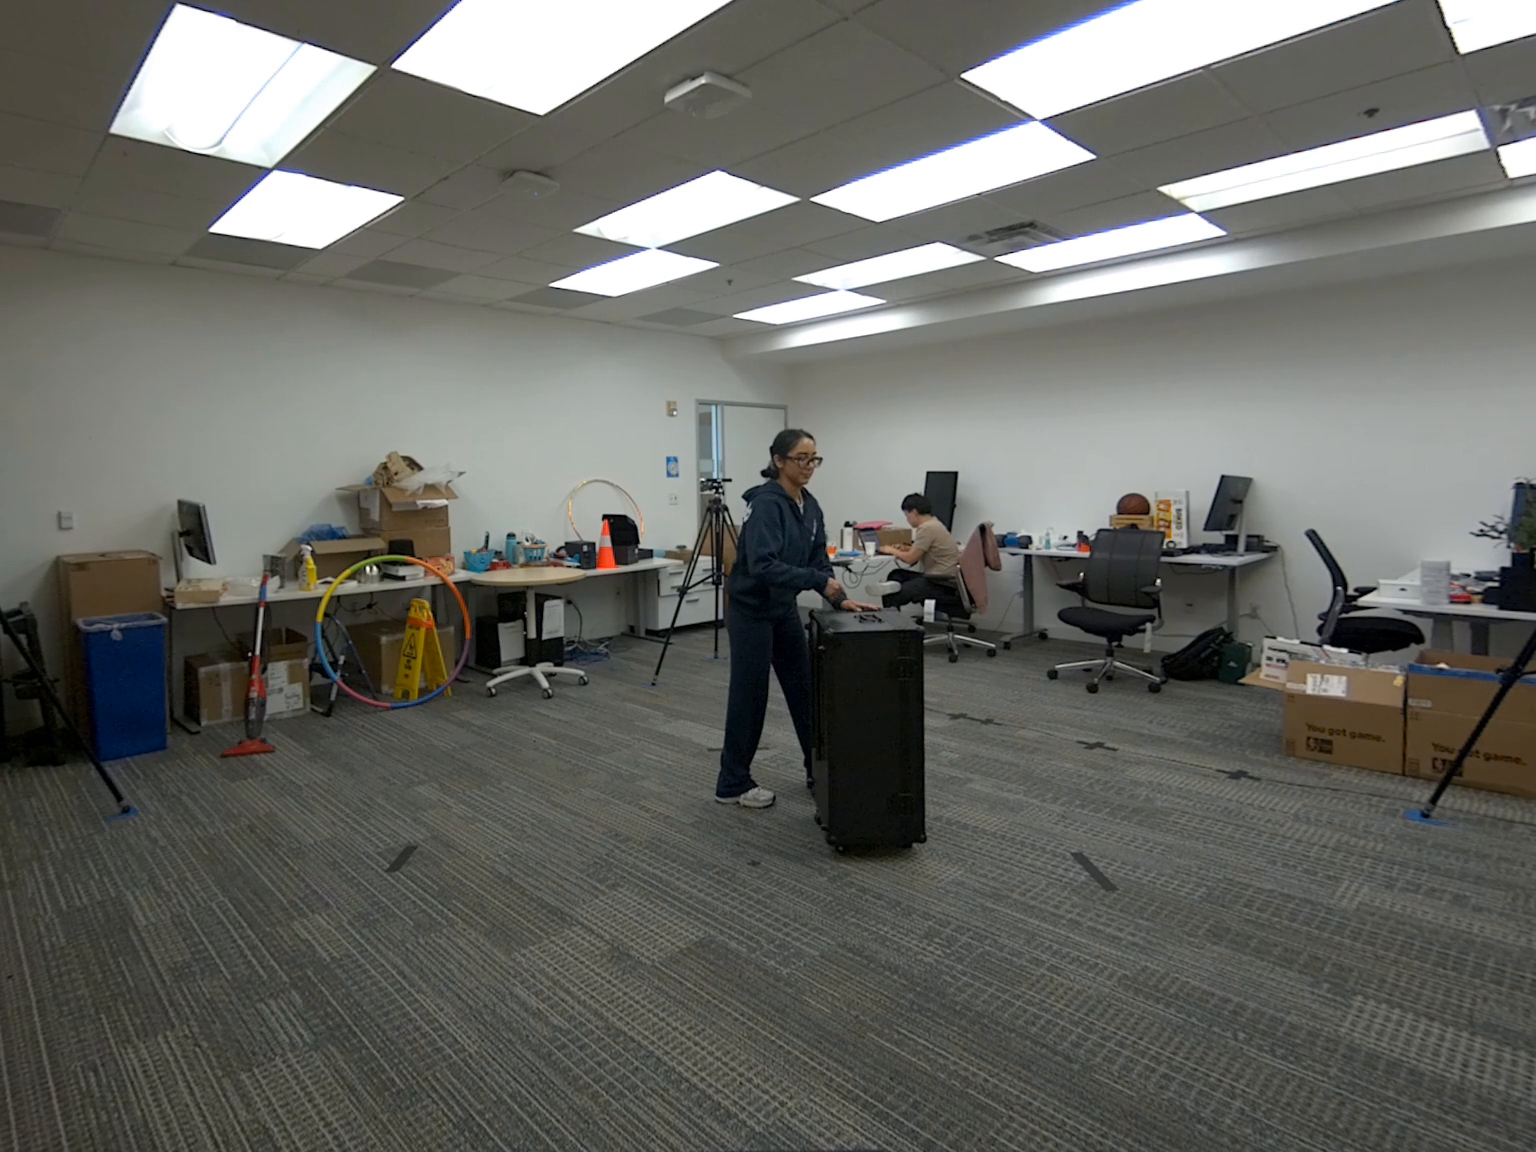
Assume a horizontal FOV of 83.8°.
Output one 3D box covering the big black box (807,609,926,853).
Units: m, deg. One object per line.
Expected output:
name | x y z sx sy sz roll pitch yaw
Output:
big black box | 0.366 0.592 3.294 0.396 0.858 0.524 -2 4 -2
